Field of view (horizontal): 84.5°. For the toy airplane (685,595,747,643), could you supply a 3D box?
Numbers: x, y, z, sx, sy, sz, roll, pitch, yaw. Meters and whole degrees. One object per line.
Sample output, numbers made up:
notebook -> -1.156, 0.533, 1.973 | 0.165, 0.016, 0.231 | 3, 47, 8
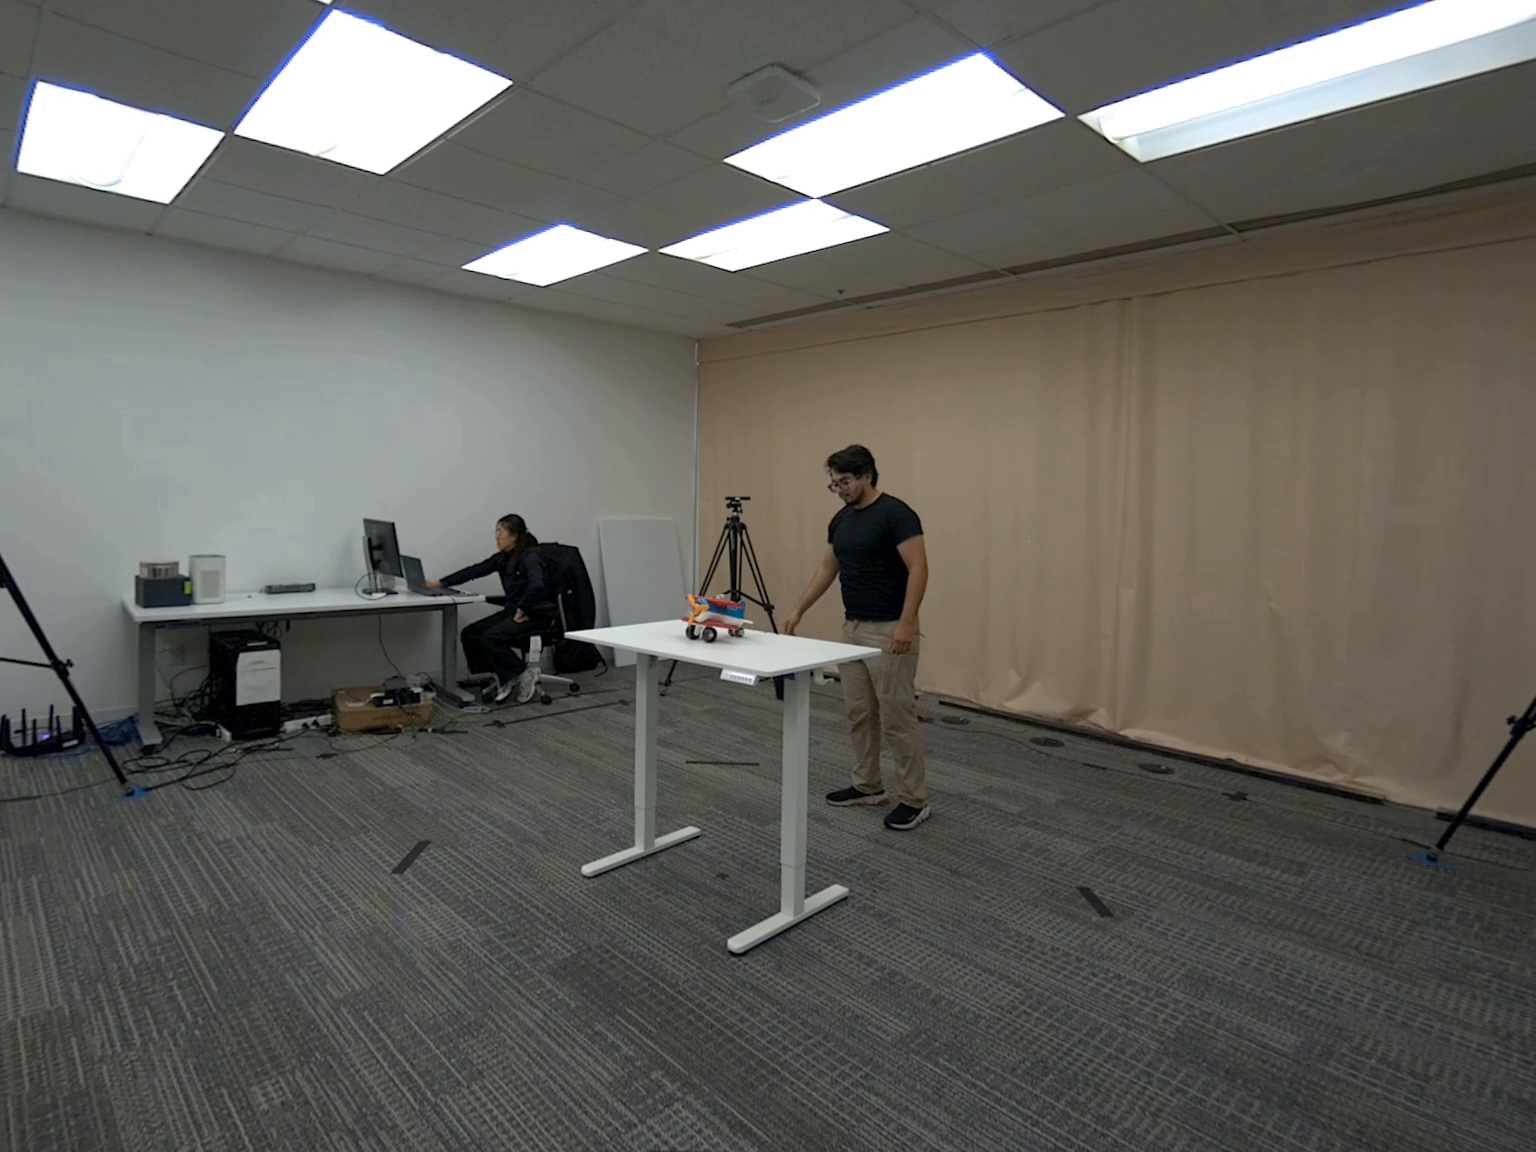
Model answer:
toy airplane -> -0.199, 0.150, 3.050 | 0.254, 0.156, 0.256 | 2, 5, 16
